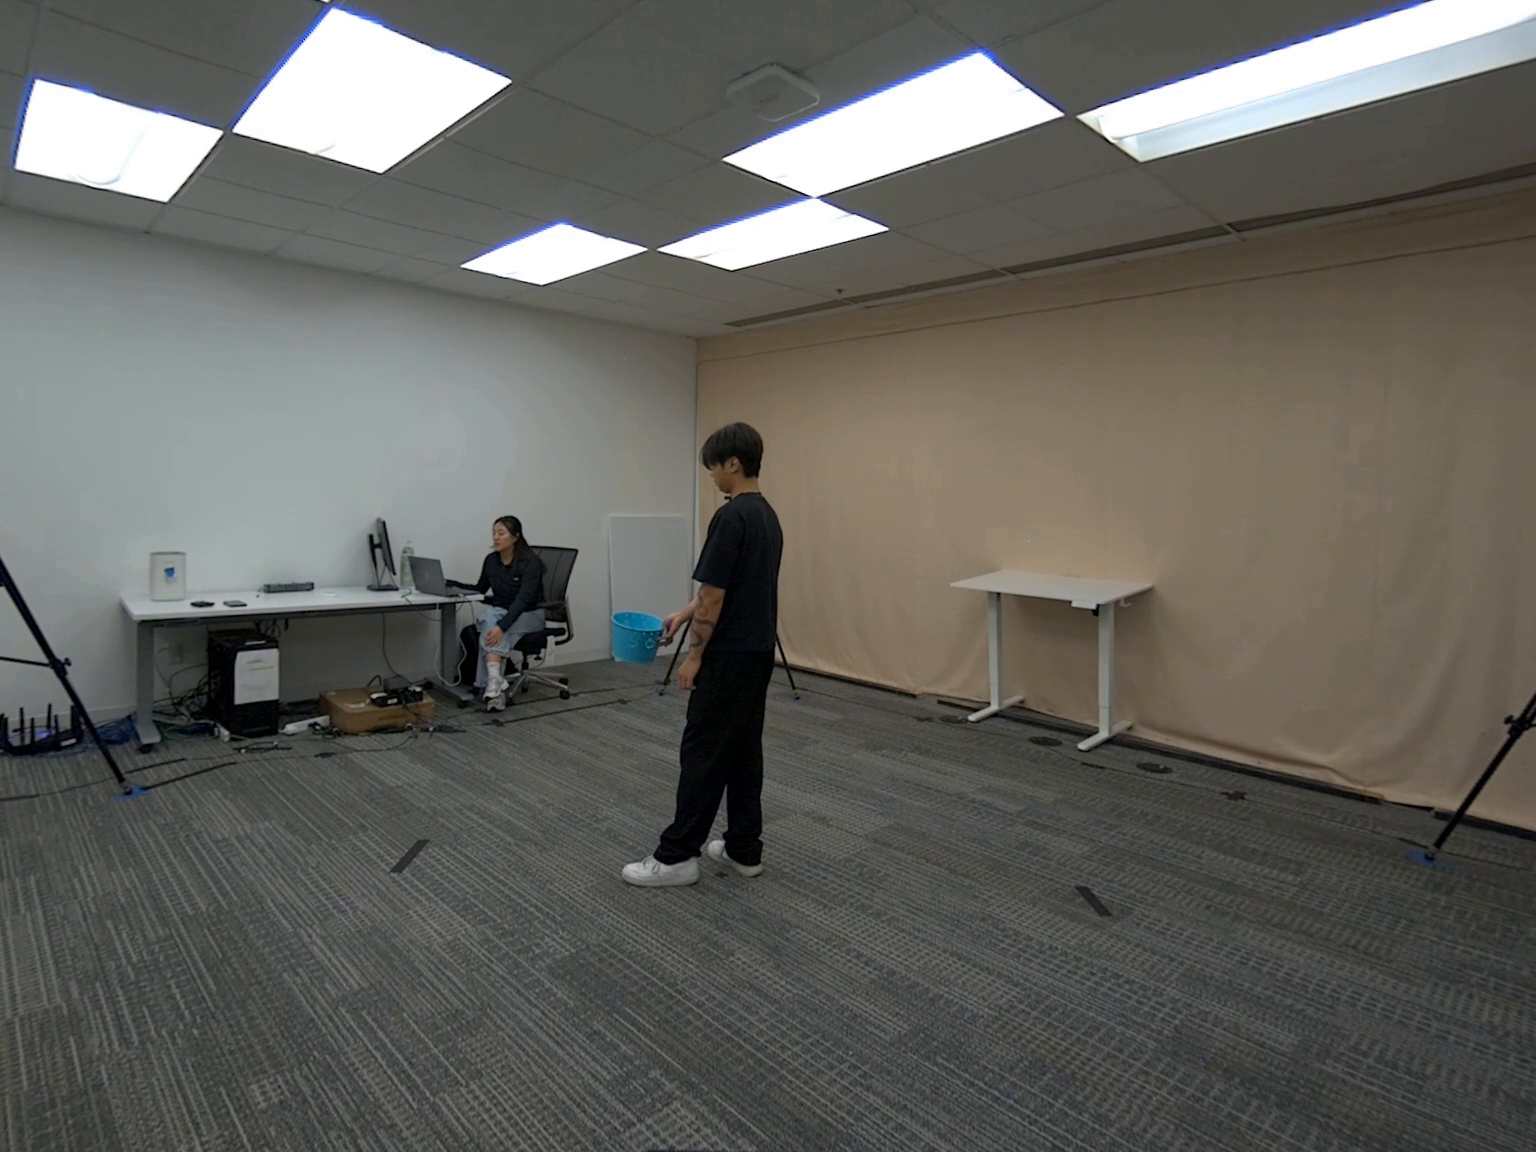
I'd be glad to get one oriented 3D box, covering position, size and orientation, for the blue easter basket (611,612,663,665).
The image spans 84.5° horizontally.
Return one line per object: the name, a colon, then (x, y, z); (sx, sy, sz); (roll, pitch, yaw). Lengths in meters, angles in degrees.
blue easter basket: (-0.531, 0.265, 3.477); (0.243, 0.155, 0.246); (11, 11, -4)
